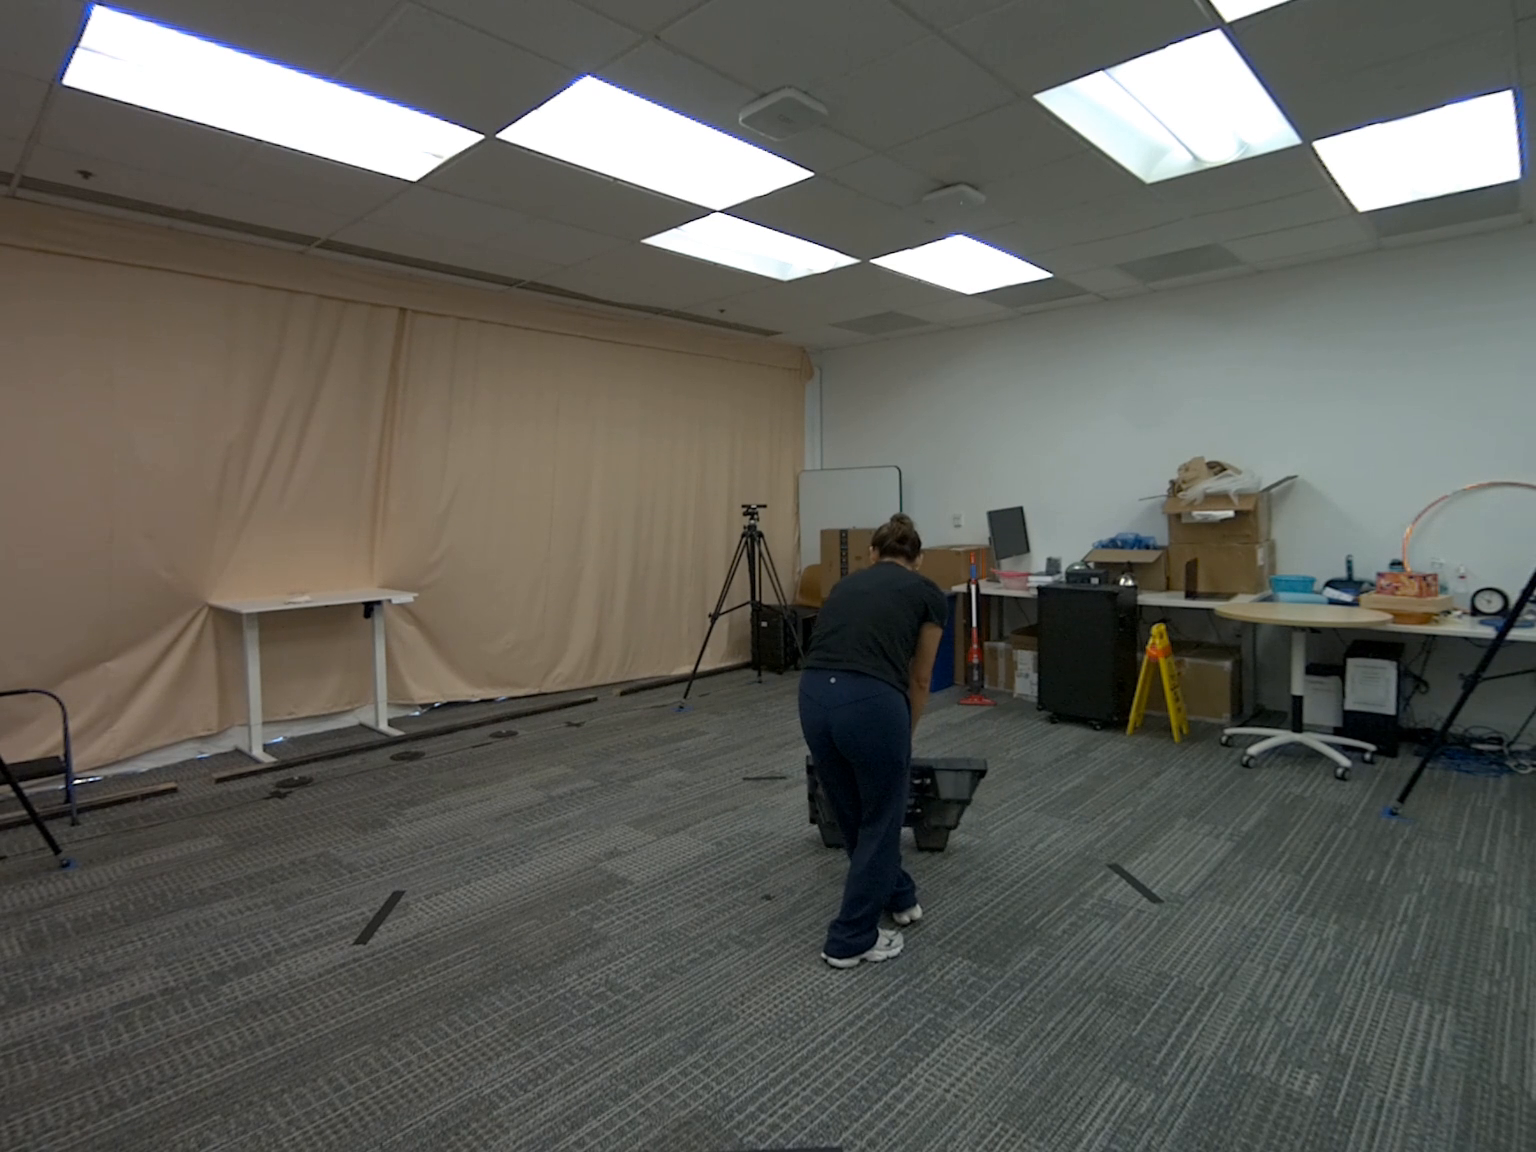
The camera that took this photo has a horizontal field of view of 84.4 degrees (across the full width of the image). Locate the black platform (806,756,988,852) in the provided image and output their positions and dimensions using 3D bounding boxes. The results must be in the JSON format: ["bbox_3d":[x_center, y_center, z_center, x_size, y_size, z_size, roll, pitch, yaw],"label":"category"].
[{"bbox_3d":[0.461,0.855,3.112,0.609,0.145,0.789,0,-31,5],"label":"black platform"}]
